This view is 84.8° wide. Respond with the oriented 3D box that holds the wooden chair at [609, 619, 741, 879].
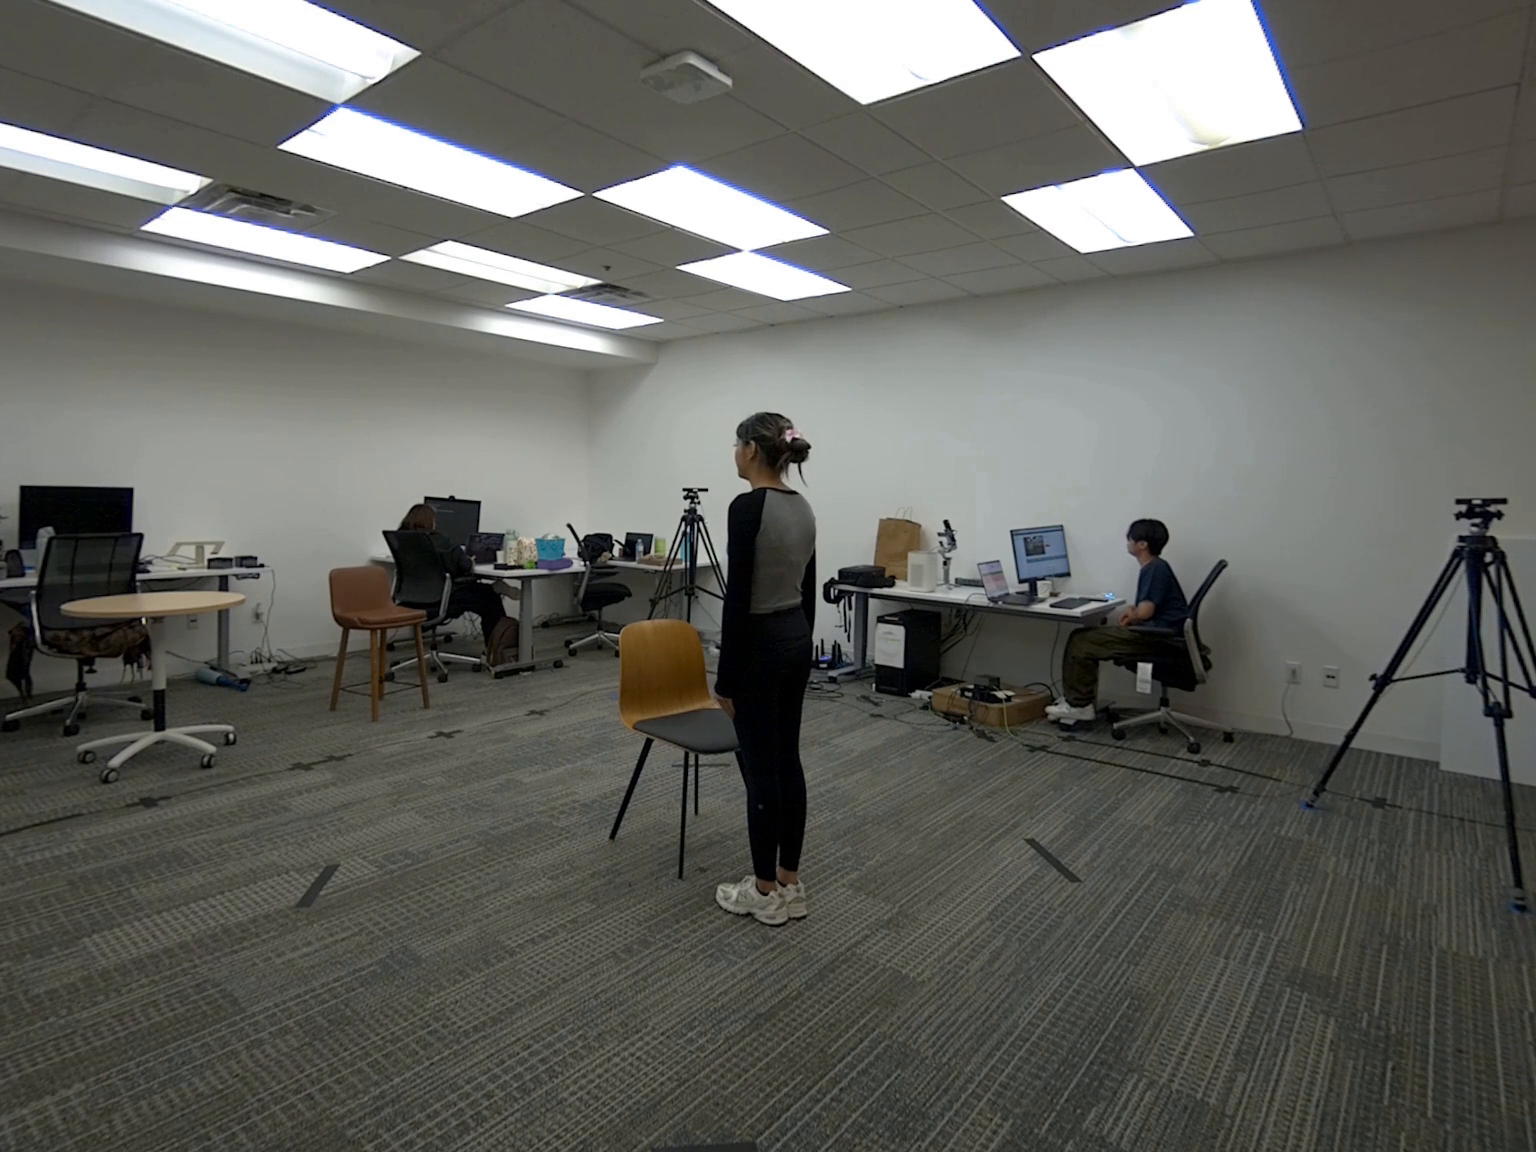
[{"bbox_3d":[-0.303,0.622,3.310,0.463,0.878,0.539,-1,0,-43],"label":"wooden chair"}]
